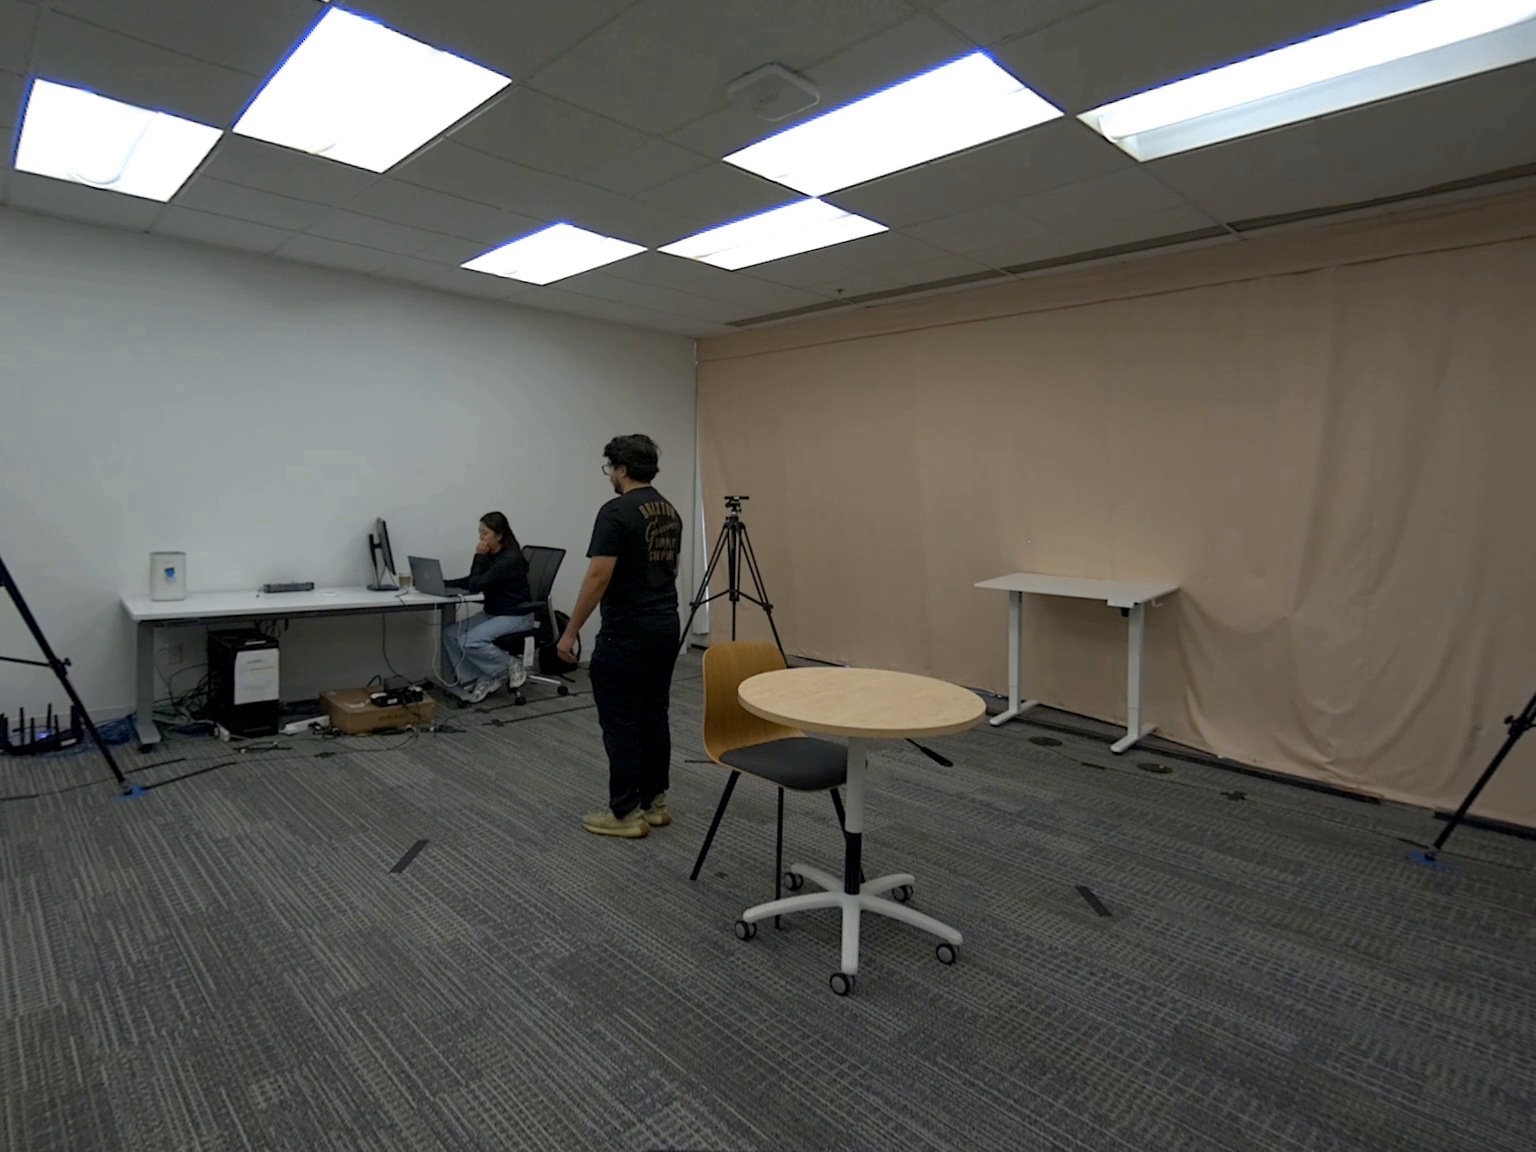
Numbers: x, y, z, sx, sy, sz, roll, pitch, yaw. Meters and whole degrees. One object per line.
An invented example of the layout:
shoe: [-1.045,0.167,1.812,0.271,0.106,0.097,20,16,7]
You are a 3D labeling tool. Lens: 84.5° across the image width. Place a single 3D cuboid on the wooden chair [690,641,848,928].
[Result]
wooden chair: [0.043,0.690,2.994,0.467,0.878,0.535,0,0,-42]
